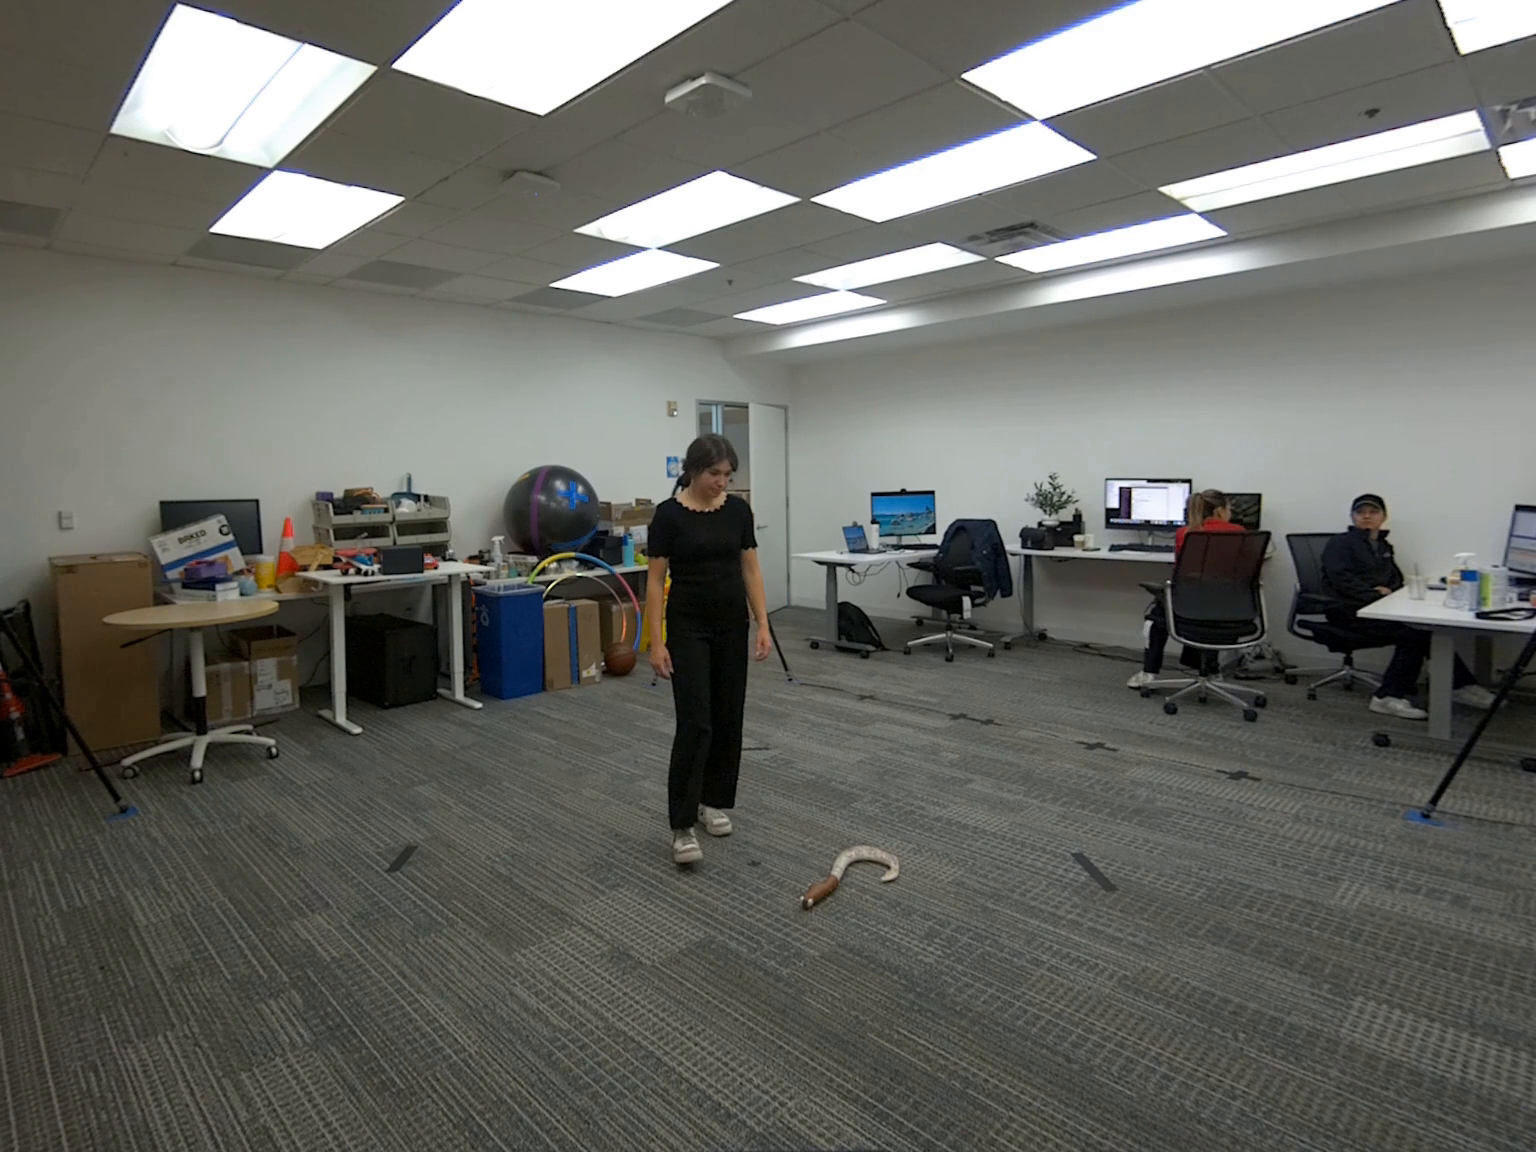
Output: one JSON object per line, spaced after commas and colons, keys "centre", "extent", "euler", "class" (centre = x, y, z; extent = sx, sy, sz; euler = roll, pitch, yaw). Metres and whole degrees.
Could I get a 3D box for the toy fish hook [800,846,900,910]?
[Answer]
{"centre": [0.292, 1.038, 2.926], "extent": [0.231, 0.048, 0.495], "euler": [2, 7, 32], "class": "toy fish hook"}
